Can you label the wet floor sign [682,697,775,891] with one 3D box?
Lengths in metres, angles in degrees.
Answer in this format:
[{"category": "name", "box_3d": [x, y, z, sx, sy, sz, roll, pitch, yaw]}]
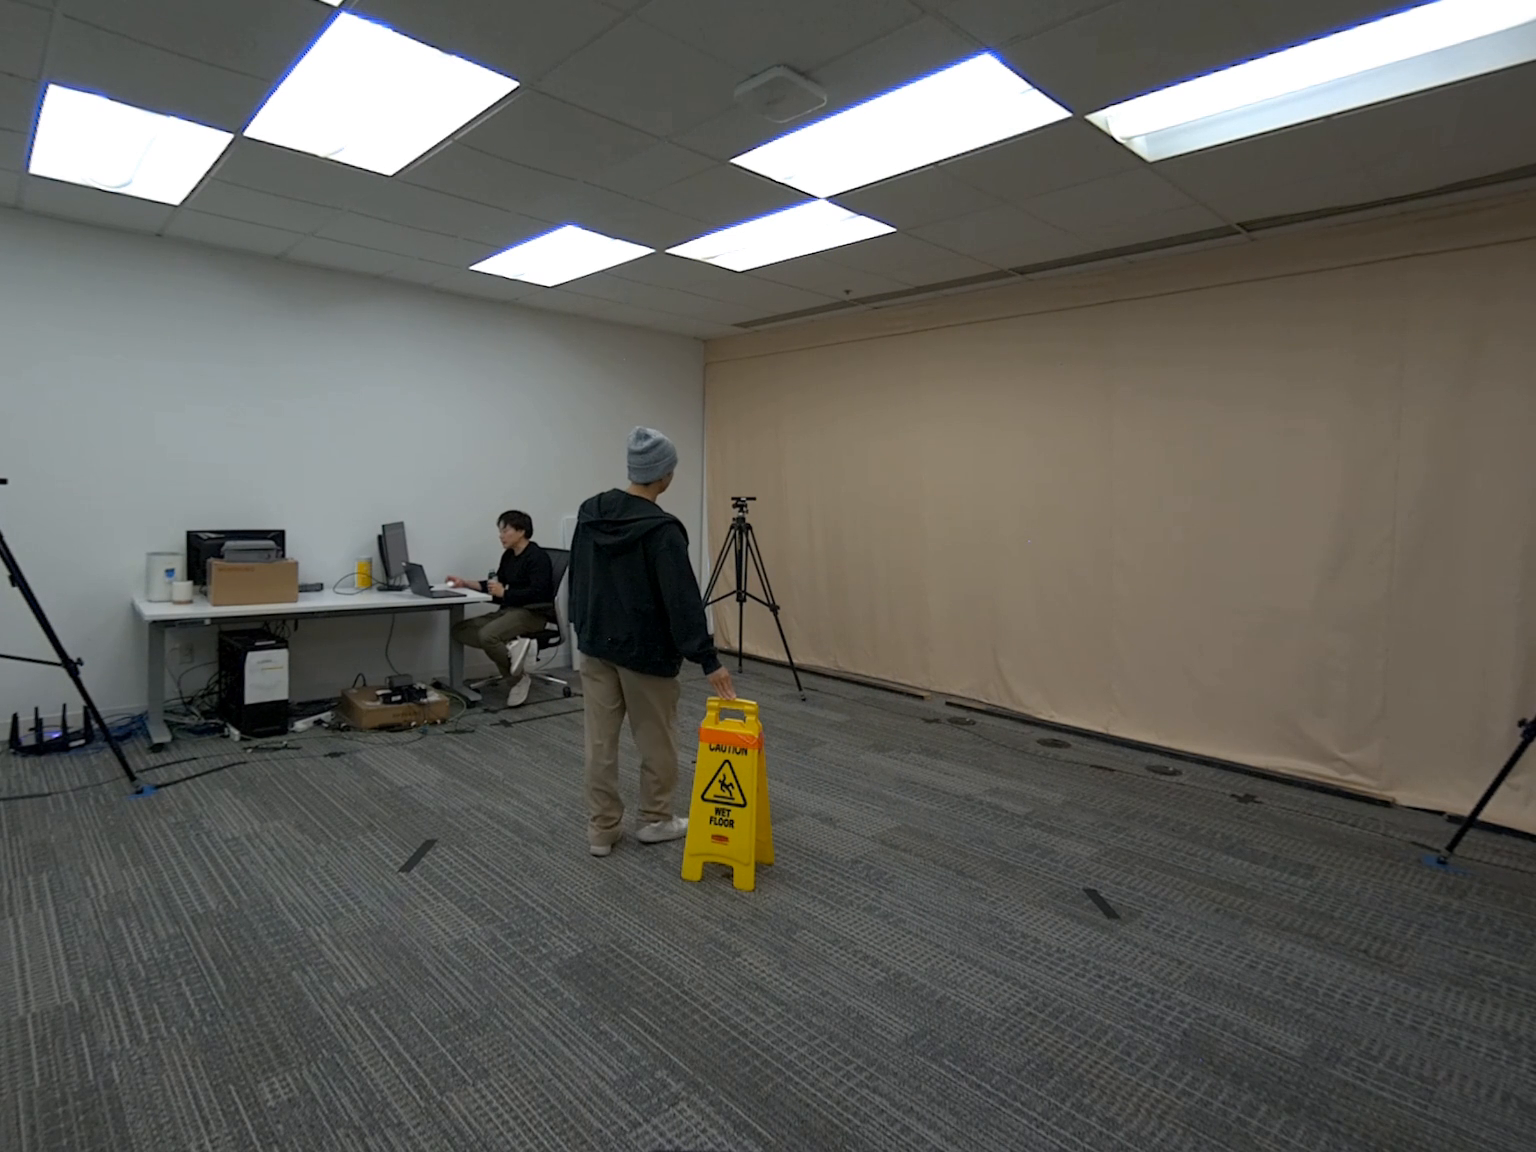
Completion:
[{"category": "wet floor sign", "box_3d": [-0.144, 0.779, 3.137, 0.286, 0.644, 0.286, 3, 4, 18]}]
